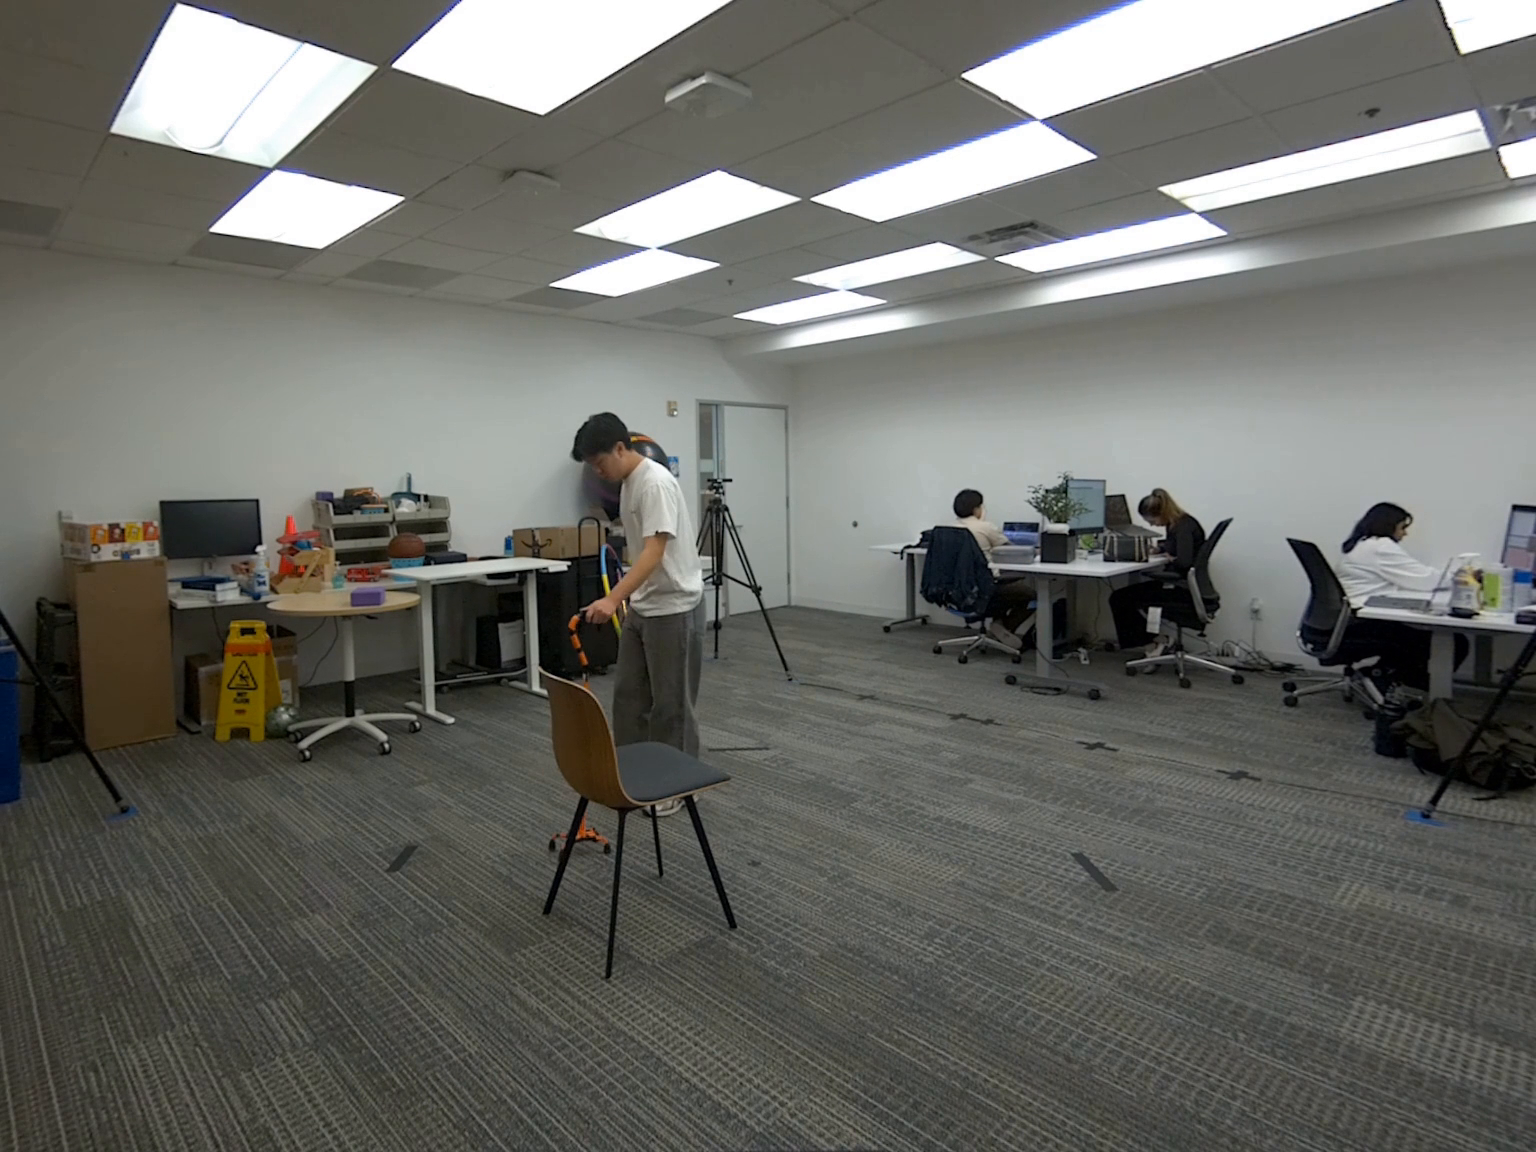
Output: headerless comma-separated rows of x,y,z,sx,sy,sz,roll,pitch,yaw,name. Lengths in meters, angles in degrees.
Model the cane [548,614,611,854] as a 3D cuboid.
-0.705,0.587,3.229,0.201,0.906,0.156,0,3,-31,cane
